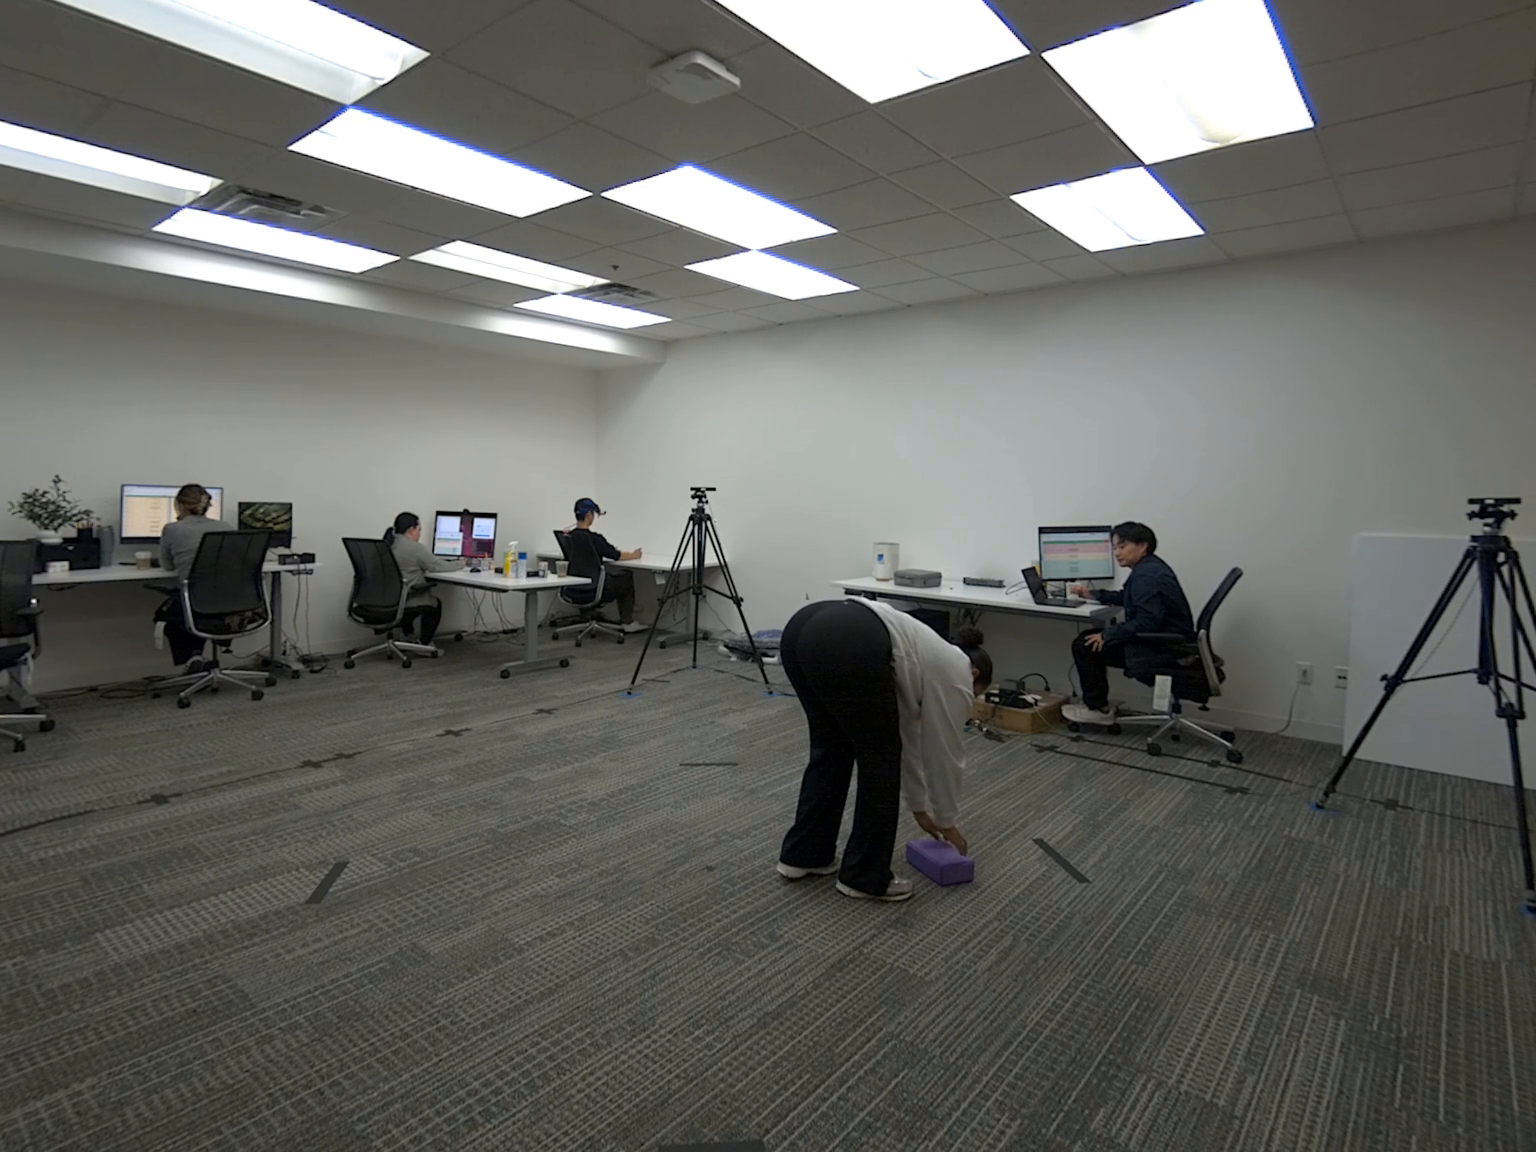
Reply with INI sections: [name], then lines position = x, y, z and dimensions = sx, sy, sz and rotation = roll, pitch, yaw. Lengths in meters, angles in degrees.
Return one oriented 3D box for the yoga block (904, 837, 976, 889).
[yoga block]
position = 0.624, 1.044, 3.129
dimensions = 0.146, 0.076, 0.235
rotation = -1, 6, -22
